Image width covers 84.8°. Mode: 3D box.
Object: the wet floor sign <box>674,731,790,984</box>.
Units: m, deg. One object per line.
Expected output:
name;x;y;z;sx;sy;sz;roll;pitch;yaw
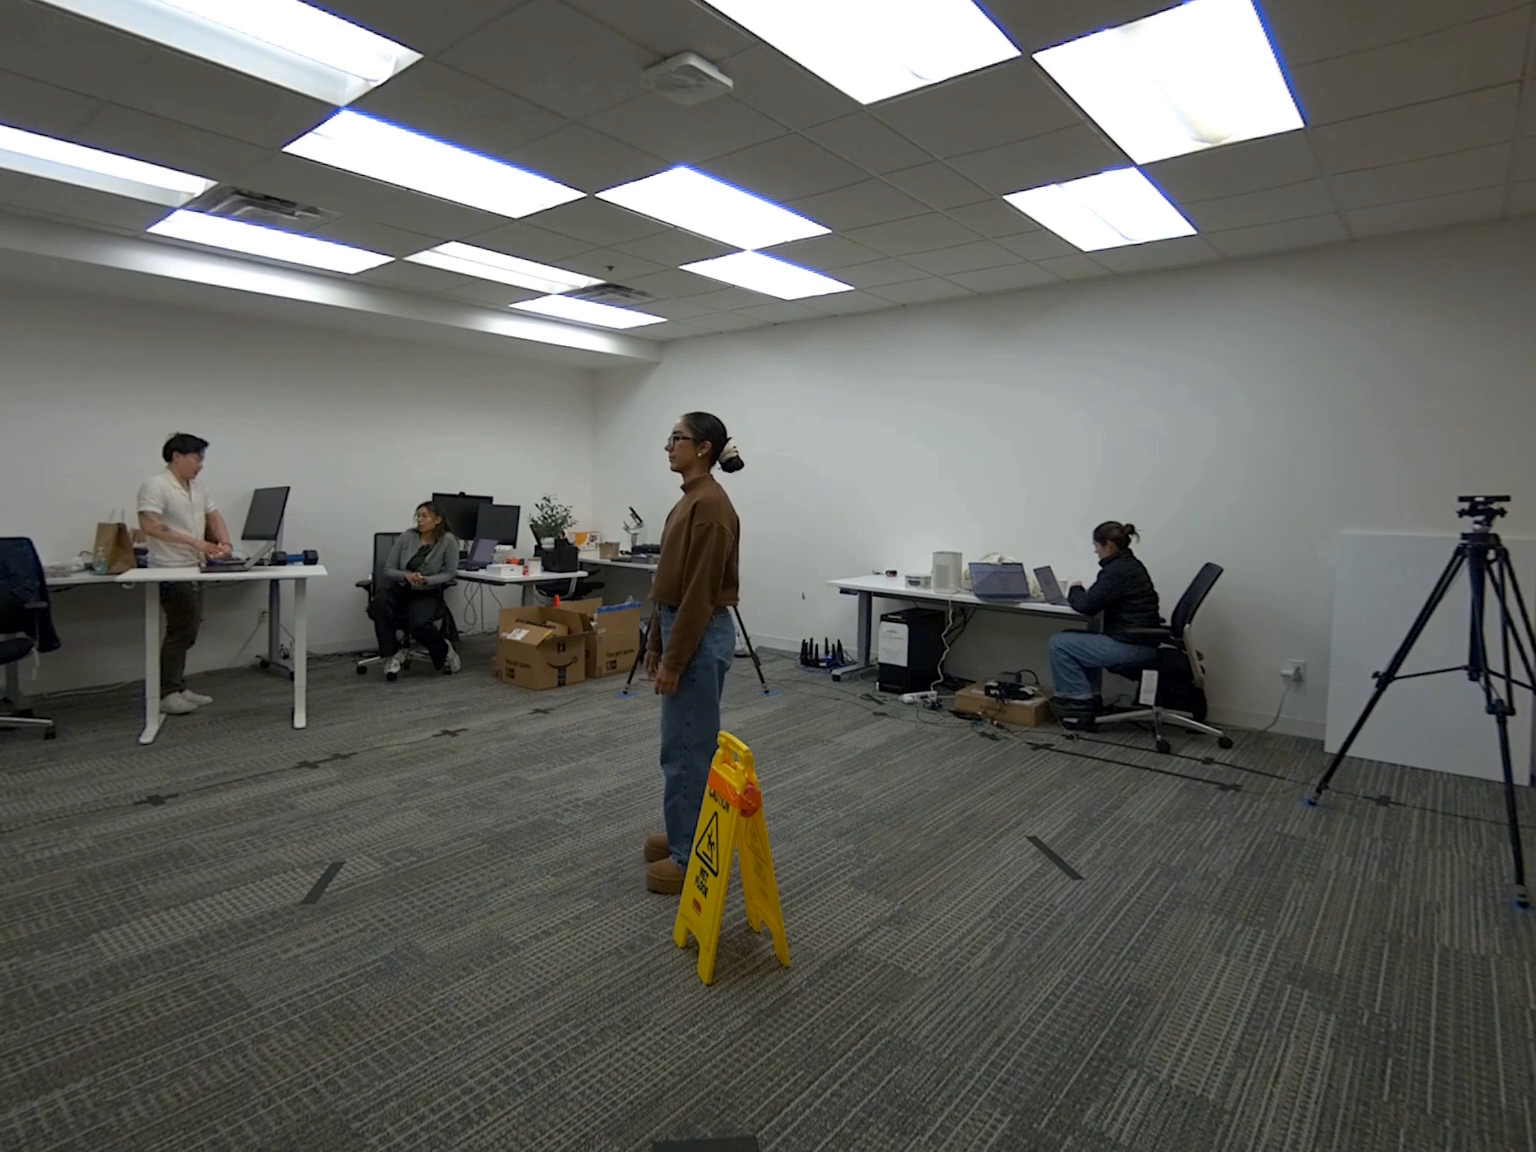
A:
wet floor sign;-0.112;0.800;2.531;0.283;0.644;0.290;1;3;-24
